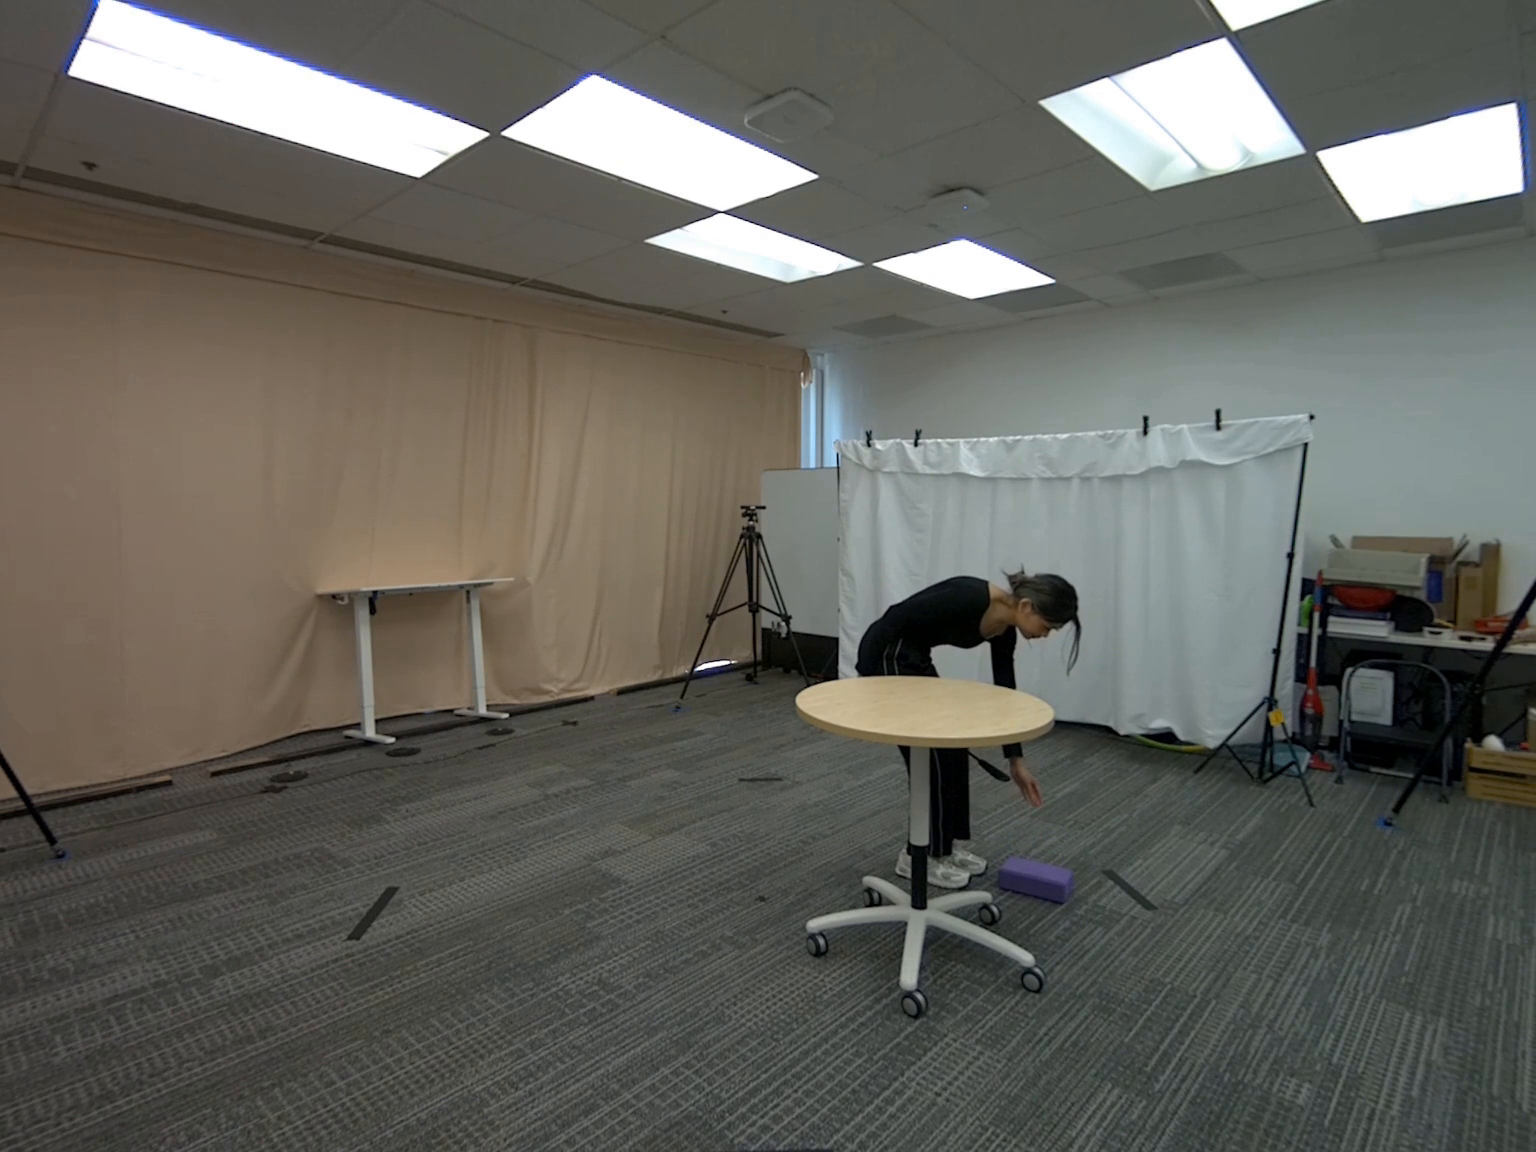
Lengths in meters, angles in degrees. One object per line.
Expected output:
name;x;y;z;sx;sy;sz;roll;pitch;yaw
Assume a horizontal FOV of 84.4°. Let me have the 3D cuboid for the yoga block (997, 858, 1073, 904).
yoga block;0.979;1.100;3.042;0.236;0.076;0.145;3;4;33
